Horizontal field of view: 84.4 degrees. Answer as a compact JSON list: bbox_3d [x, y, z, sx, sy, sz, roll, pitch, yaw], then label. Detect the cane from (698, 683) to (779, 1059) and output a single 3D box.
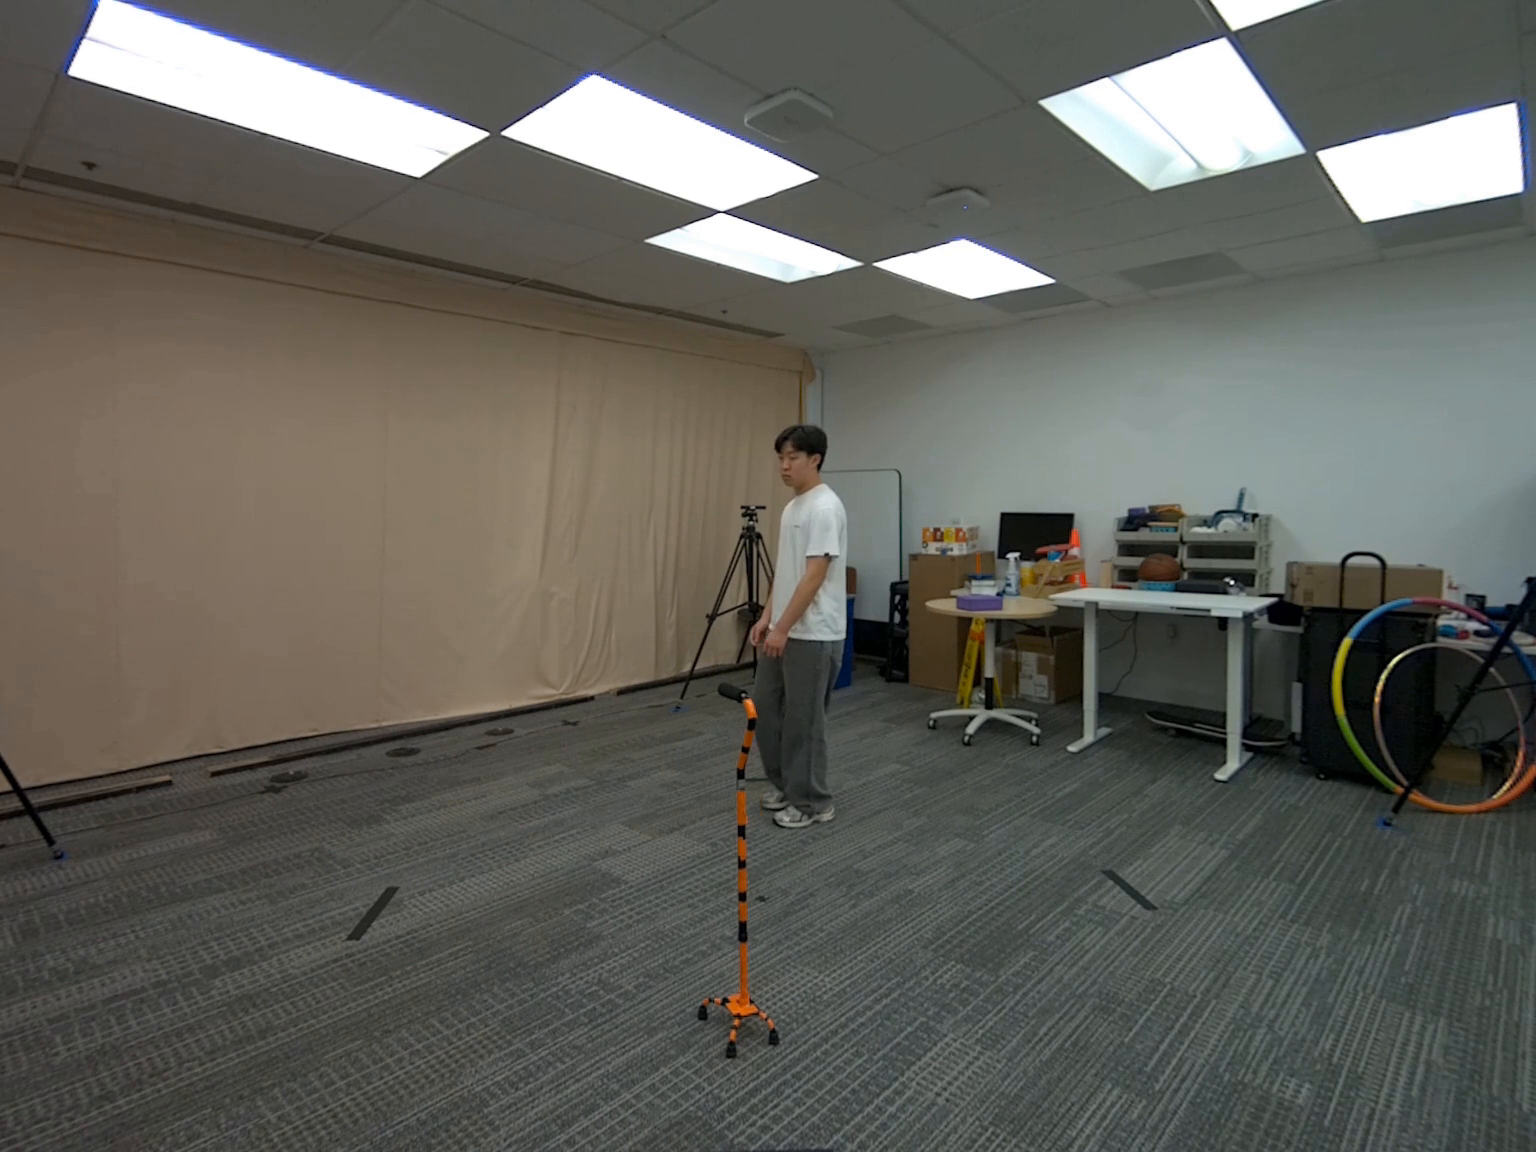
[{"bbox_3d":[-0.080,0.752,2.217,0.147,0.906,0.212,-2,4,-30],"label":"cane"}]
